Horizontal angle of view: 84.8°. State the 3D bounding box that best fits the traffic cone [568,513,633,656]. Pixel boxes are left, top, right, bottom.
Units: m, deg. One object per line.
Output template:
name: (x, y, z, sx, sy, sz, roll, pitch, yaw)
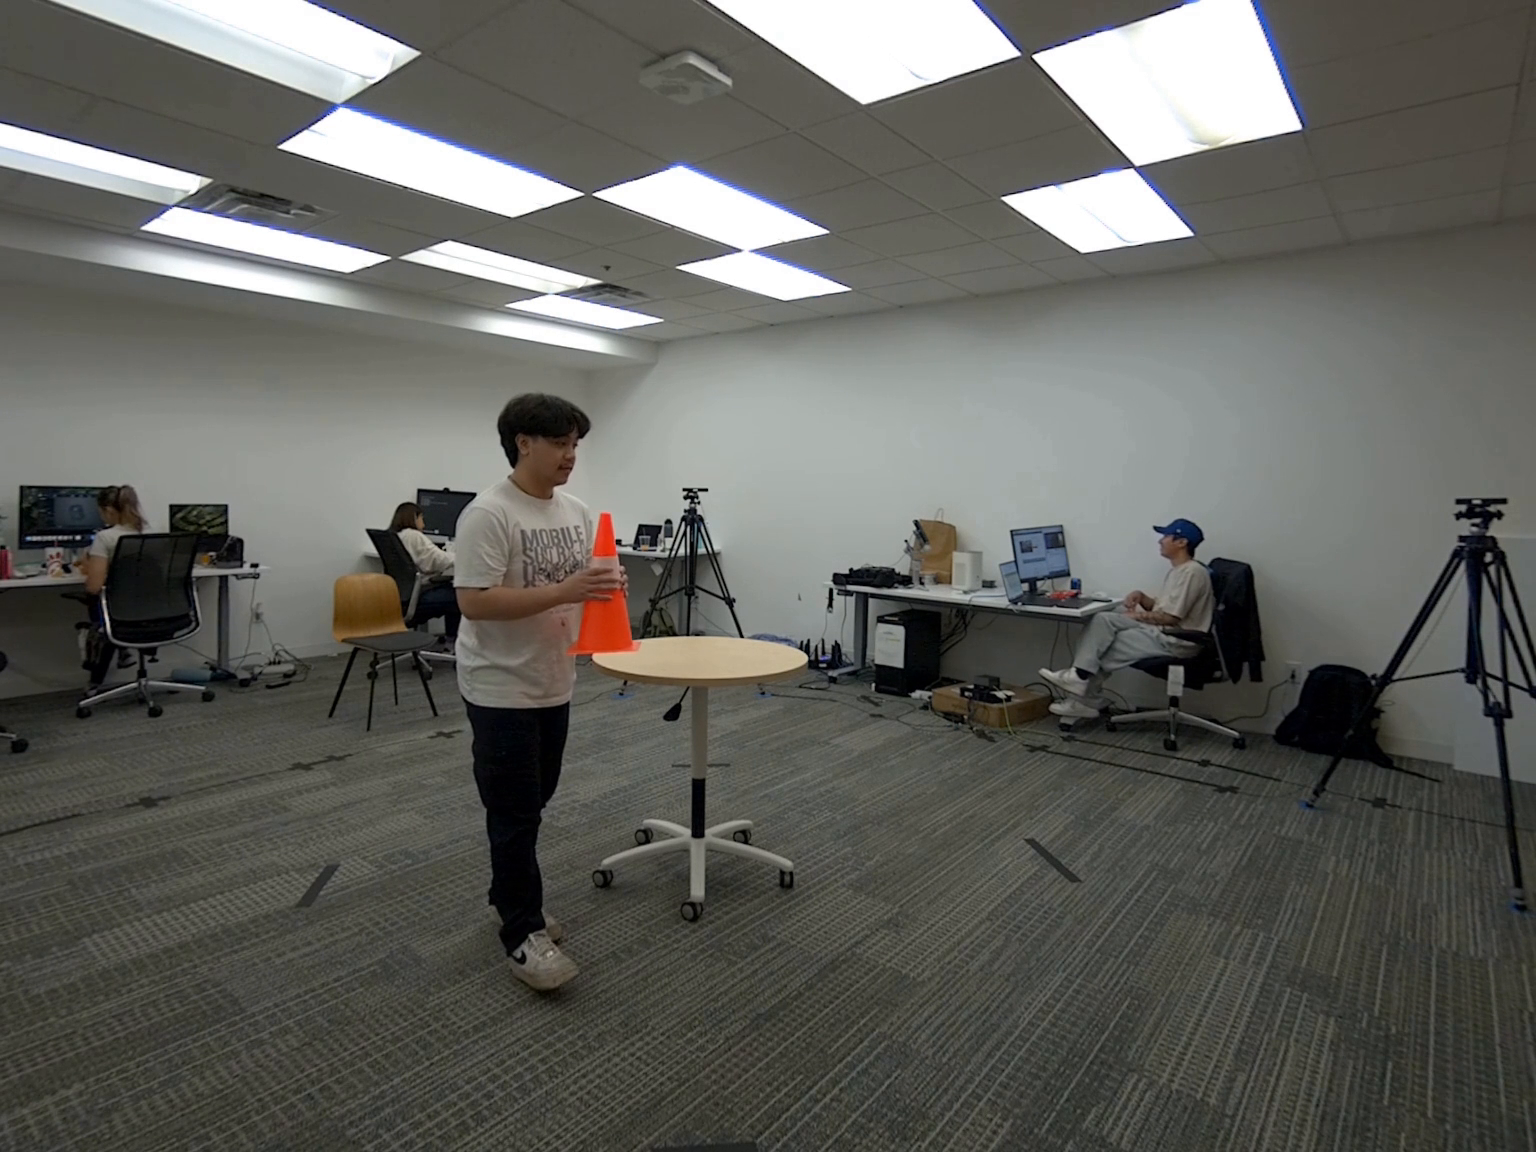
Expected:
traffic cone: (-0.474, 0.015, 2.375, 0.206, 0.383, 0.203, 1, 1, 2)
